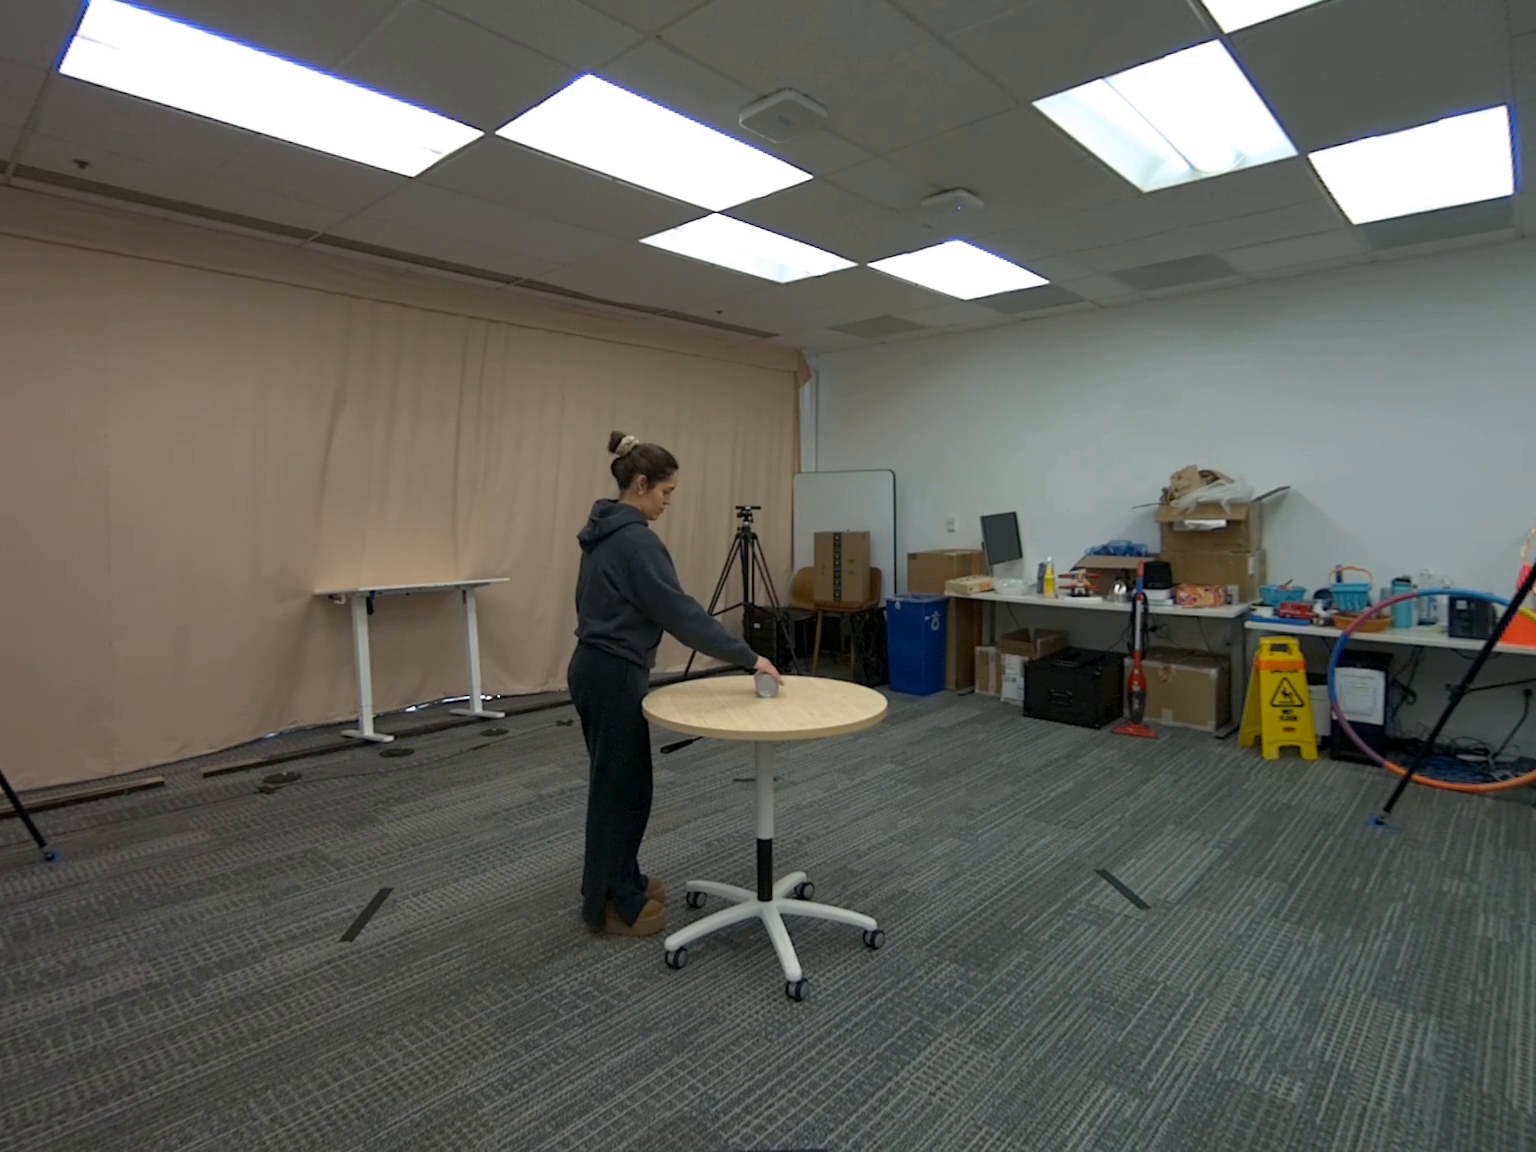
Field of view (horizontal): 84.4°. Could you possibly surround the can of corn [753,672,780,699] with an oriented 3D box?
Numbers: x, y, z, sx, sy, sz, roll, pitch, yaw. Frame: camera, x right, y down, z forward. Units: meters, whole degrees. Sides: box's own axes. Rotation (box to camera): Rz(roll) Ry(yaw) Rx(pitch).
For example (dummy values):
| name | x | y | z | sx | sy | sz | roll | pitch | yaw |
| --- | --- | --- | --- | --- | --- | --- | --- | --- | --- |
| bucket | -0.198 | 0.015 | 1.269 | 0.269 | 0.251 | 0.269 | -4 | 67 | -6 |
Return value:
| name | x | y | z | sx | sy | sz | roll | pitch | yaw |
| --- | --- | --- | --- | --- | --- | --- | --- | --- | --- |
| can of corn | 0.002 | 0.347 | 2.708 | 0.074 | 0.074 | 0.111 | 0 | 5 | 1 |
